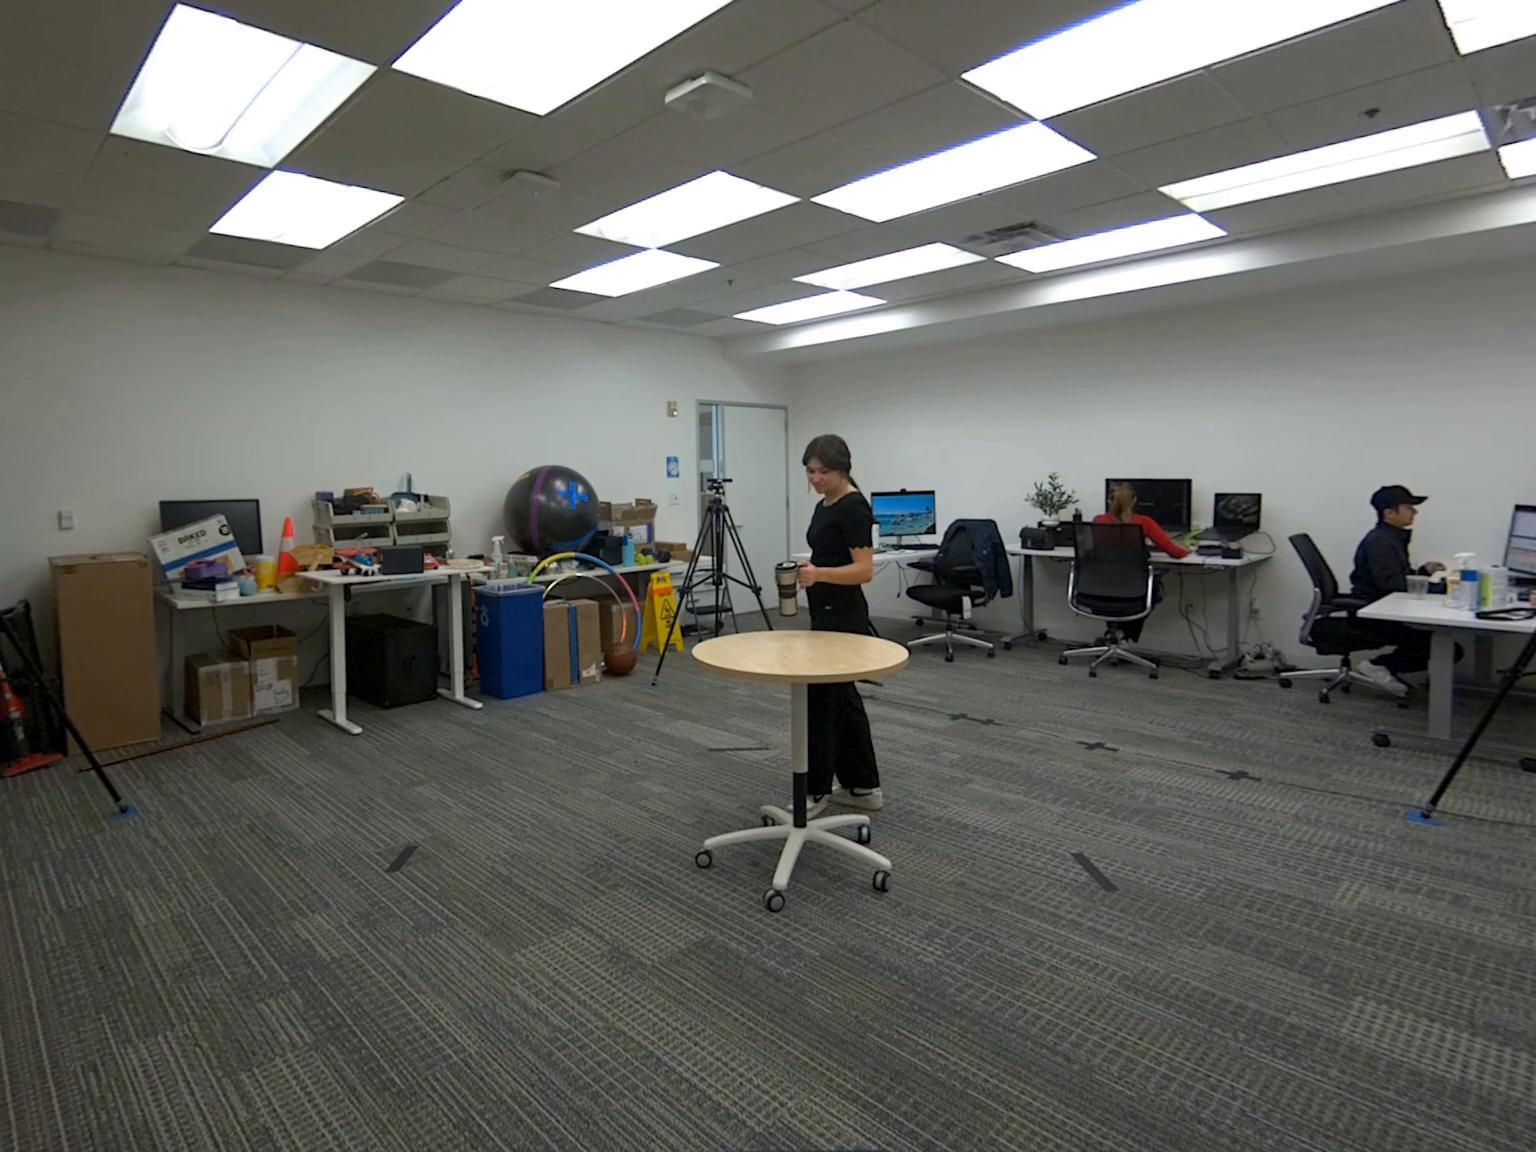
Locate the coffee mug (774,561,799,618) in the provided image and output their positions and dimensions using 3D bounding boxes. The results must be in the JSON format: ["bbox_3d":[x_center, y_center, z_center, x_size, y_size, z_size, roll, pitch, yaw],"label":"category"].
[{"bbox_3d":[0.098,0.051,3.285,0.120,0.200,0.090,-13,13,-25],"label":"coffee mug"}]
